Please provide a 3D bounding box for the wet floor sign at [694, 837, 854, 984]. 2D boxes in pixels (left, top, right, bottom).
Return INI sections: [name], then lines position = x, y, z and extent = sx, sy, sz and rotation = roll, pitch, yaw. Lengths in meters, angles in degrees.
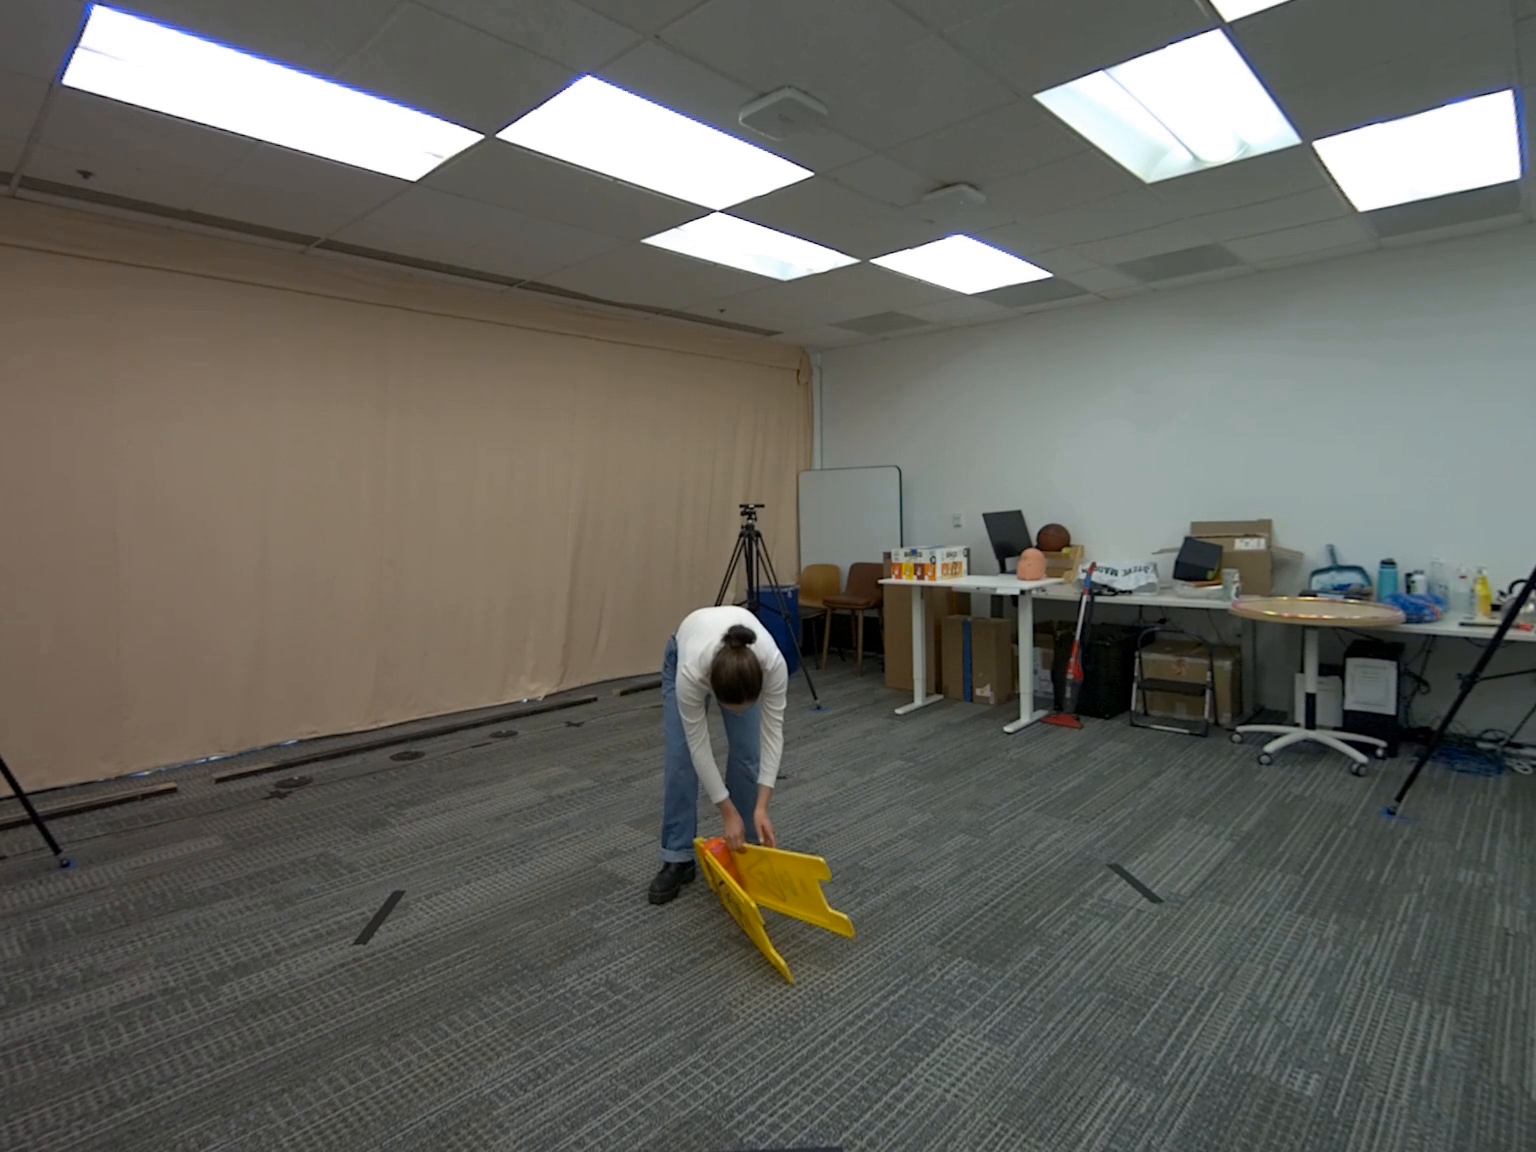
[wet floor sign]
position = -0.051, 1.028, 2.753
extent = 0.285, 0.280, 0.663
rotation = -26, 12, -29
